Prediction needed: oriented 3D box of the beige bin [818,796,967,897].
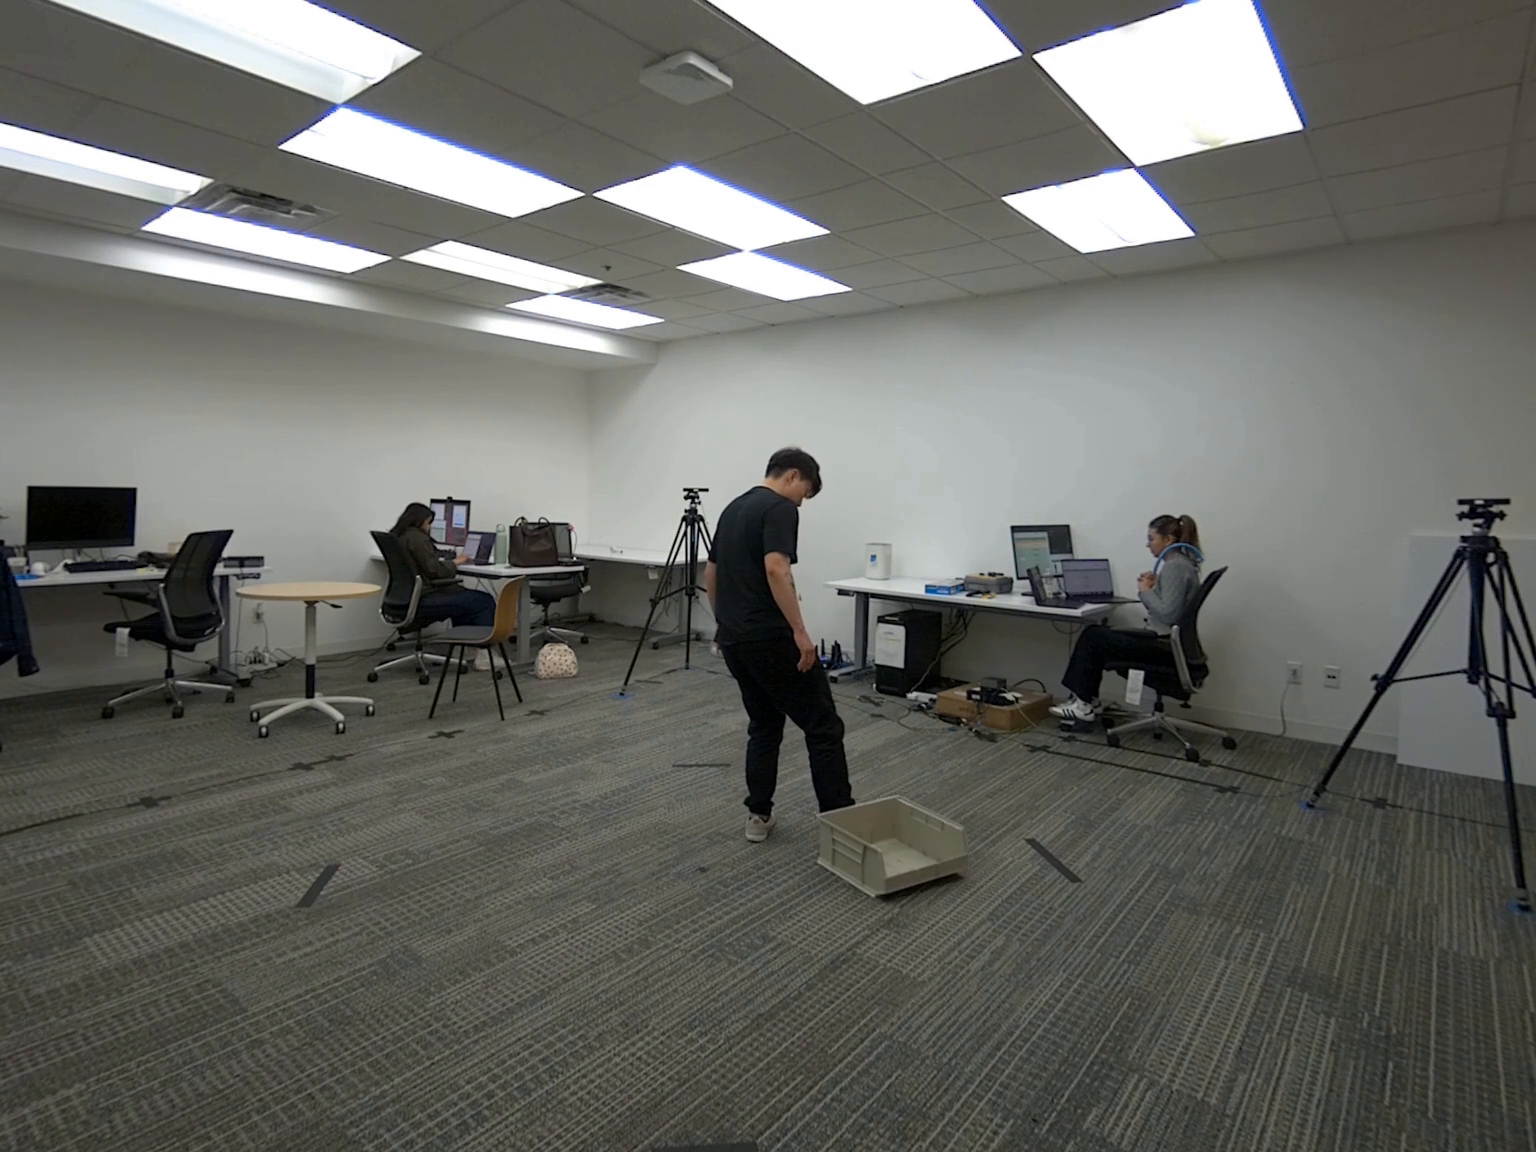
[{"bbox_3d":[0.447,0.992,3.134,0.410,0.188,0.390,-3,7,-34],"label":"beige bin"}]
